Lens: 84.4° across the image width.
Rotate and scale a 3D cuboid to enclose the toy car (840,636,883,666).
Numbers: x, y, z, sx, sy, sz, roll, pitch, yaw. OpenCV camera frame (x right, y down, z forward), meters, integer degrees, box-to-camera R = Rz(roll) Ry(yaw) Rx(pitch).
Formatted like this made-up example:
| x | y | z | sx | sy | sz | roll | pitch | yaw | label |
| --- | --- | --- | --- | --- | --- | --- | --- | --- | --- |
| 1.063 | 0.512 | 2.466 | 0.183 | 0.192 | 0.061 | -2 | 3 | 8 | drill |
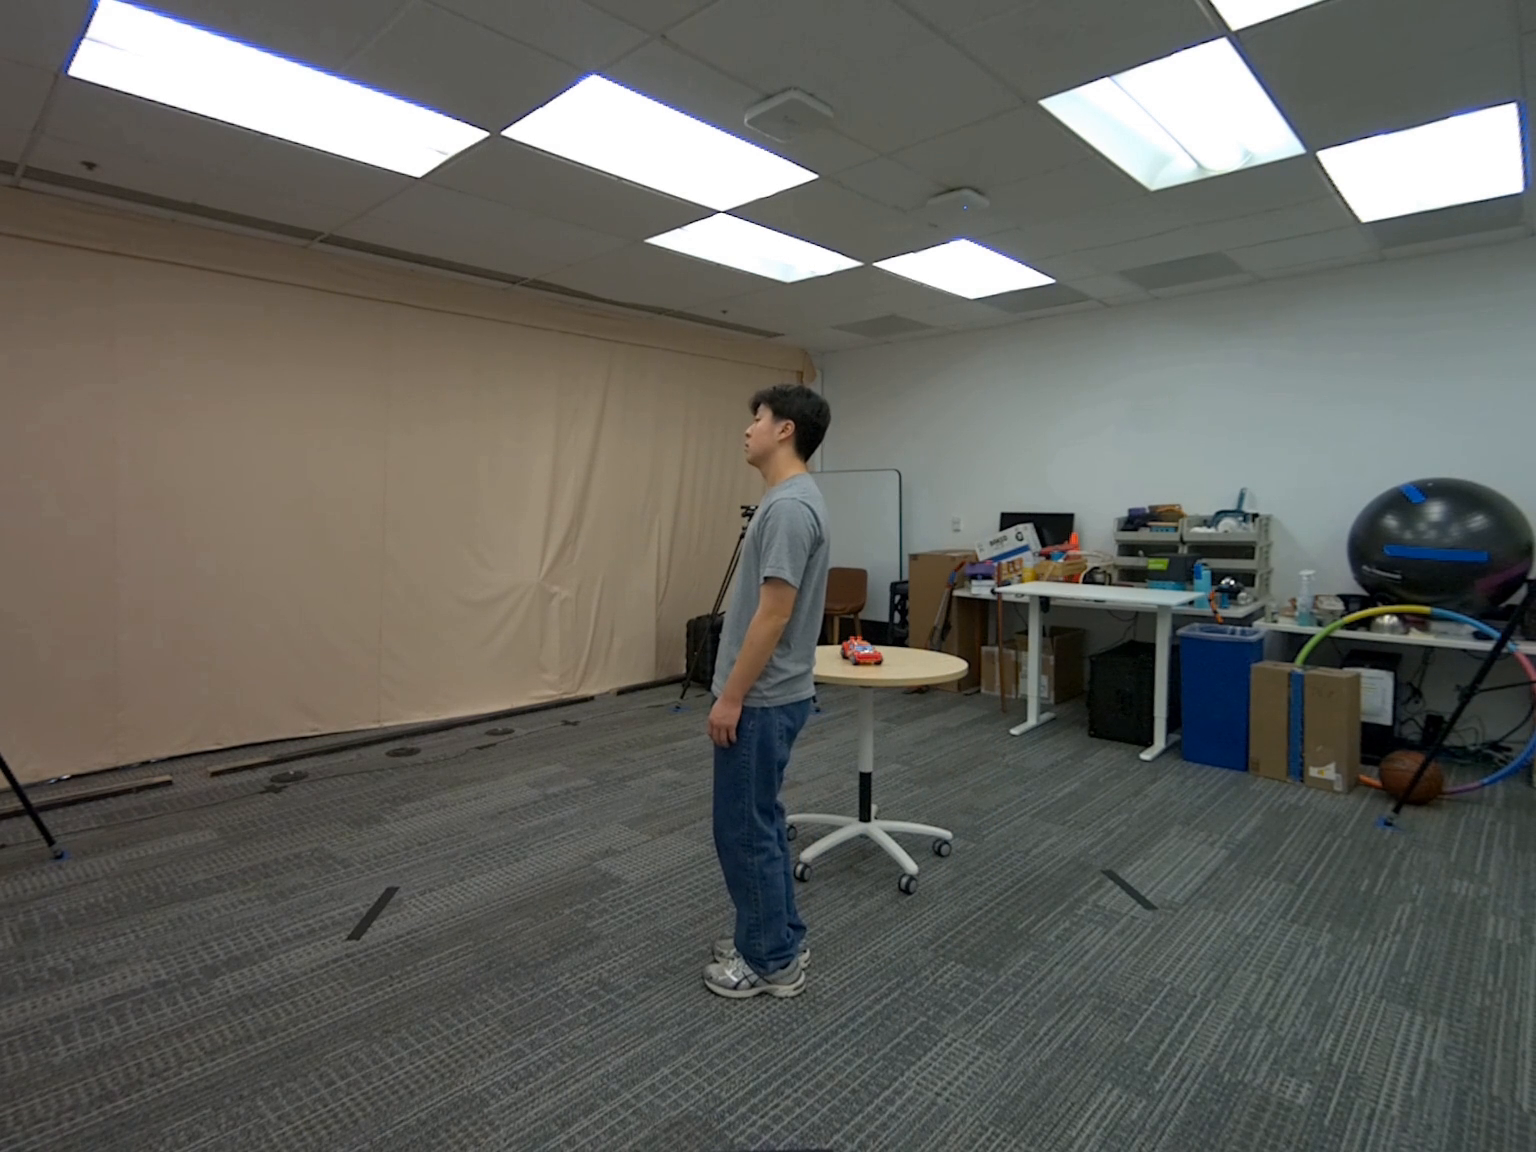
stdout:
| x | y | z | sx | sy | sz | roll | pitch | yaw | label |
| --- | --- | --- | --- | --- | --- | --- | --- | --- | --- |
| 0.371 | 0.302 | 3.303 | 0.129 | 0.082 | 0.258 | -1 | 14 | -8 | toy car |
